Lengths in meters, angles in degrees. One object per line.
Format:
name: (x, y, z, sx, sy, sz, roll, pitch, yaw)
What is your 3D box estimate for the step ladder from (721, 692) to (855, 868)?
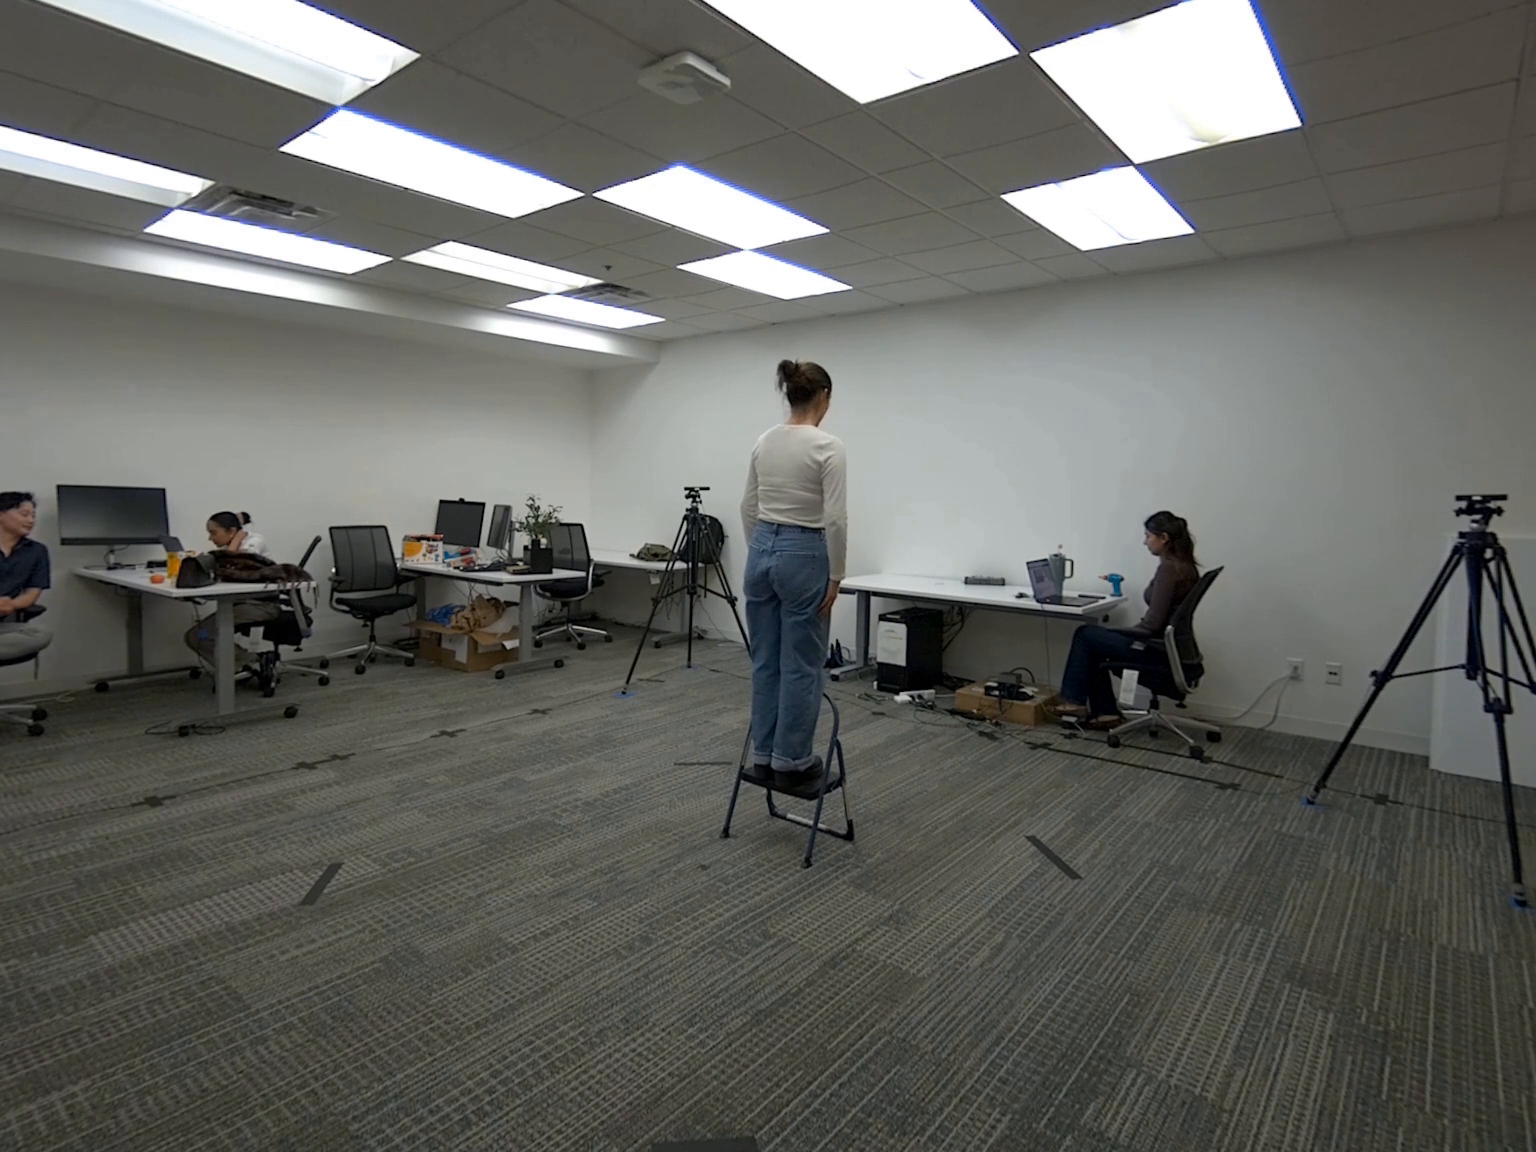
step ladder: (0.079, 0.740, 3.376, 0.445, 0.604, 0.339, 4, 4, 38)
